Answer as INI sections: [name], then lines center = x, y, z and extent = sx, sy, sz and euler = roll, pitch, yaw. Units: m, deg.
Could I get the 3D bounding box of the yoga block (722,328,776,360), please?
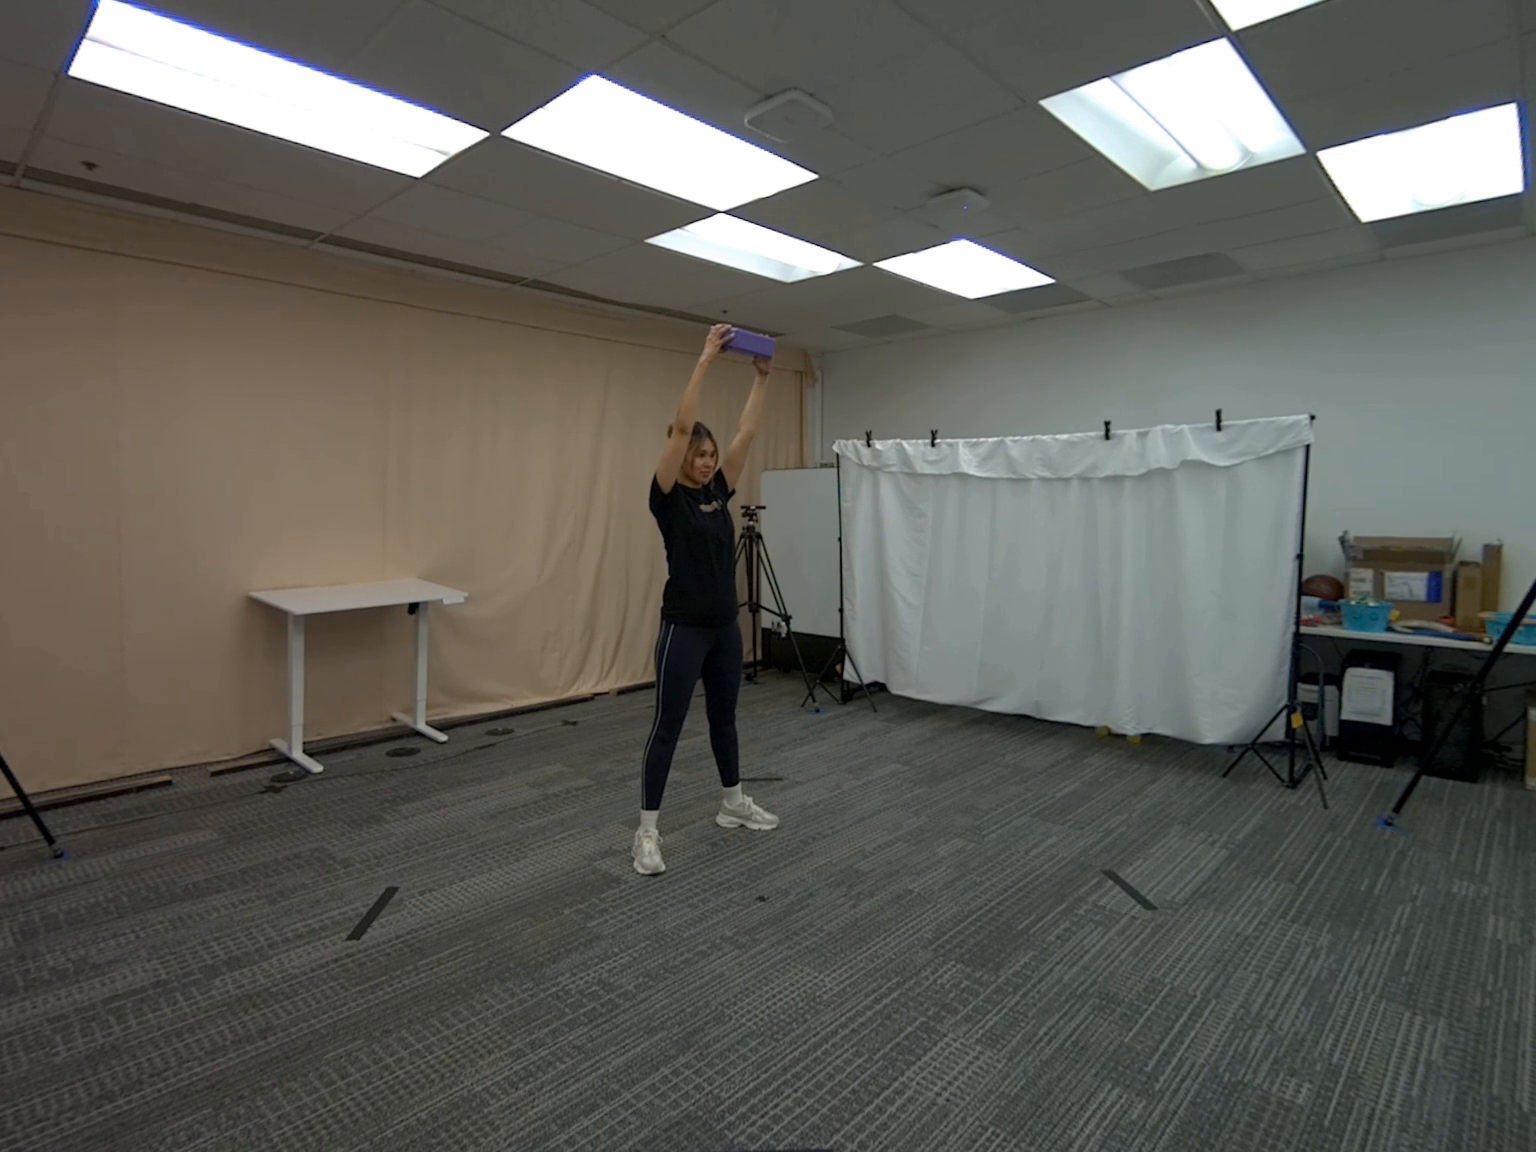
[yoga block]
center = -0.095, -0.896, 3.240
extent = 0.154, 0.076, 0.222
euler = 21, 15, 41
